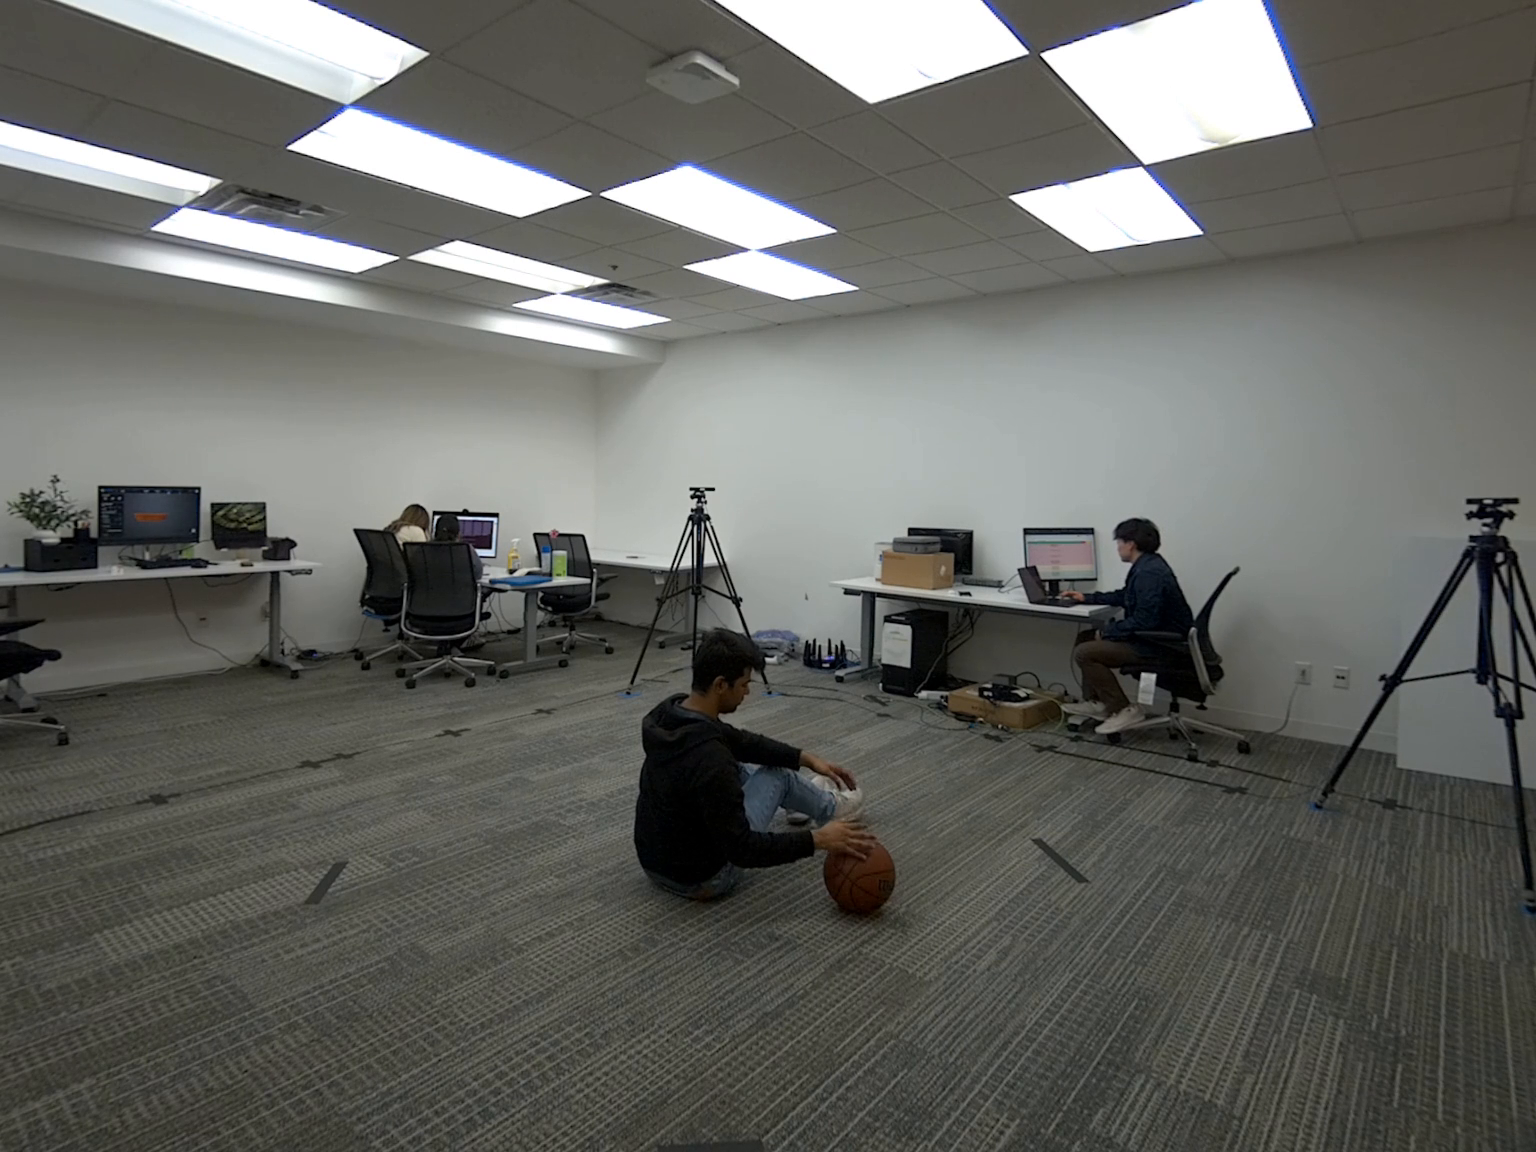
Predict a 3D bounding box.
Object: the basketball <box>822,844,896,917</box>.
[{"bbox_3d":[0.298,0.988,2.827,0.235,0.235,0.237,1,4,-2],"label":"basketball"}]
